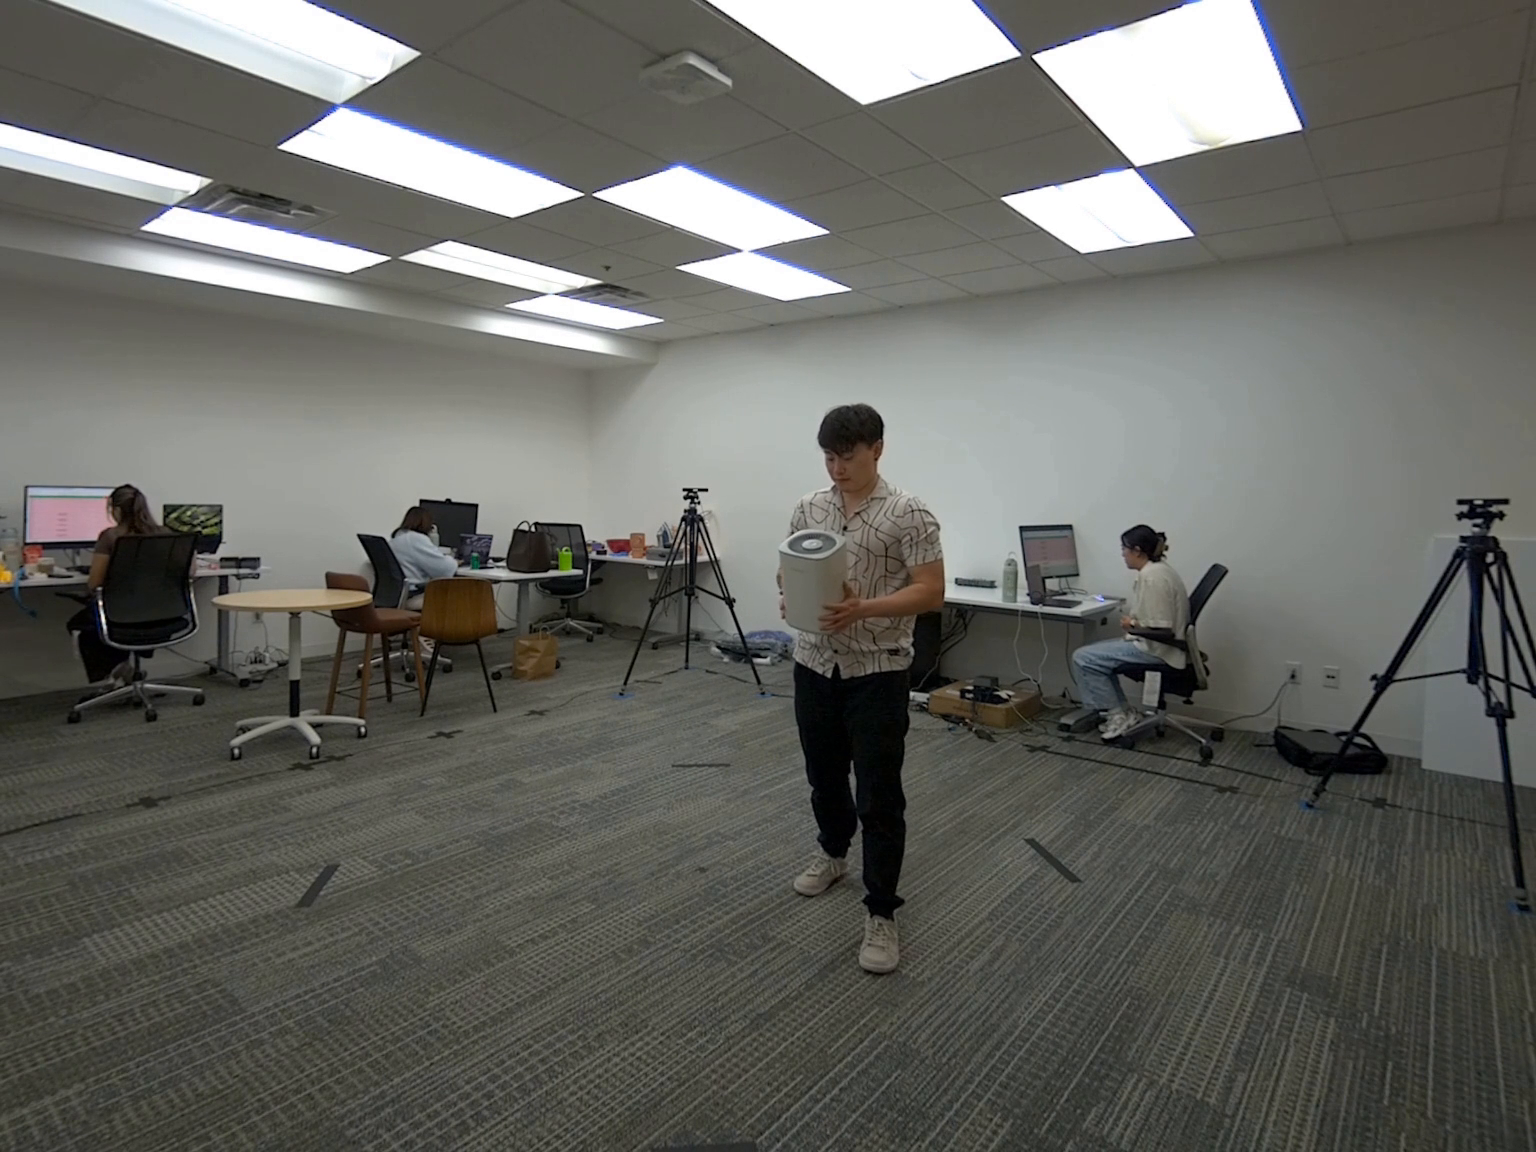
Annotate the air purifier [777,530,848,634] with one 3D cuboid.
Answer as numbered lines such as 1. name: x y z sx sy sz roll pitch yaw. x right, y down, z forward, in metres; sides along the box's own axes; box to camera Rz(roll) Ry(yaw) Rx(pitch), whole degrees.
1. air purifier: 0.137 0.018 2.526 0.178 0.259 0.169 14 31 36
